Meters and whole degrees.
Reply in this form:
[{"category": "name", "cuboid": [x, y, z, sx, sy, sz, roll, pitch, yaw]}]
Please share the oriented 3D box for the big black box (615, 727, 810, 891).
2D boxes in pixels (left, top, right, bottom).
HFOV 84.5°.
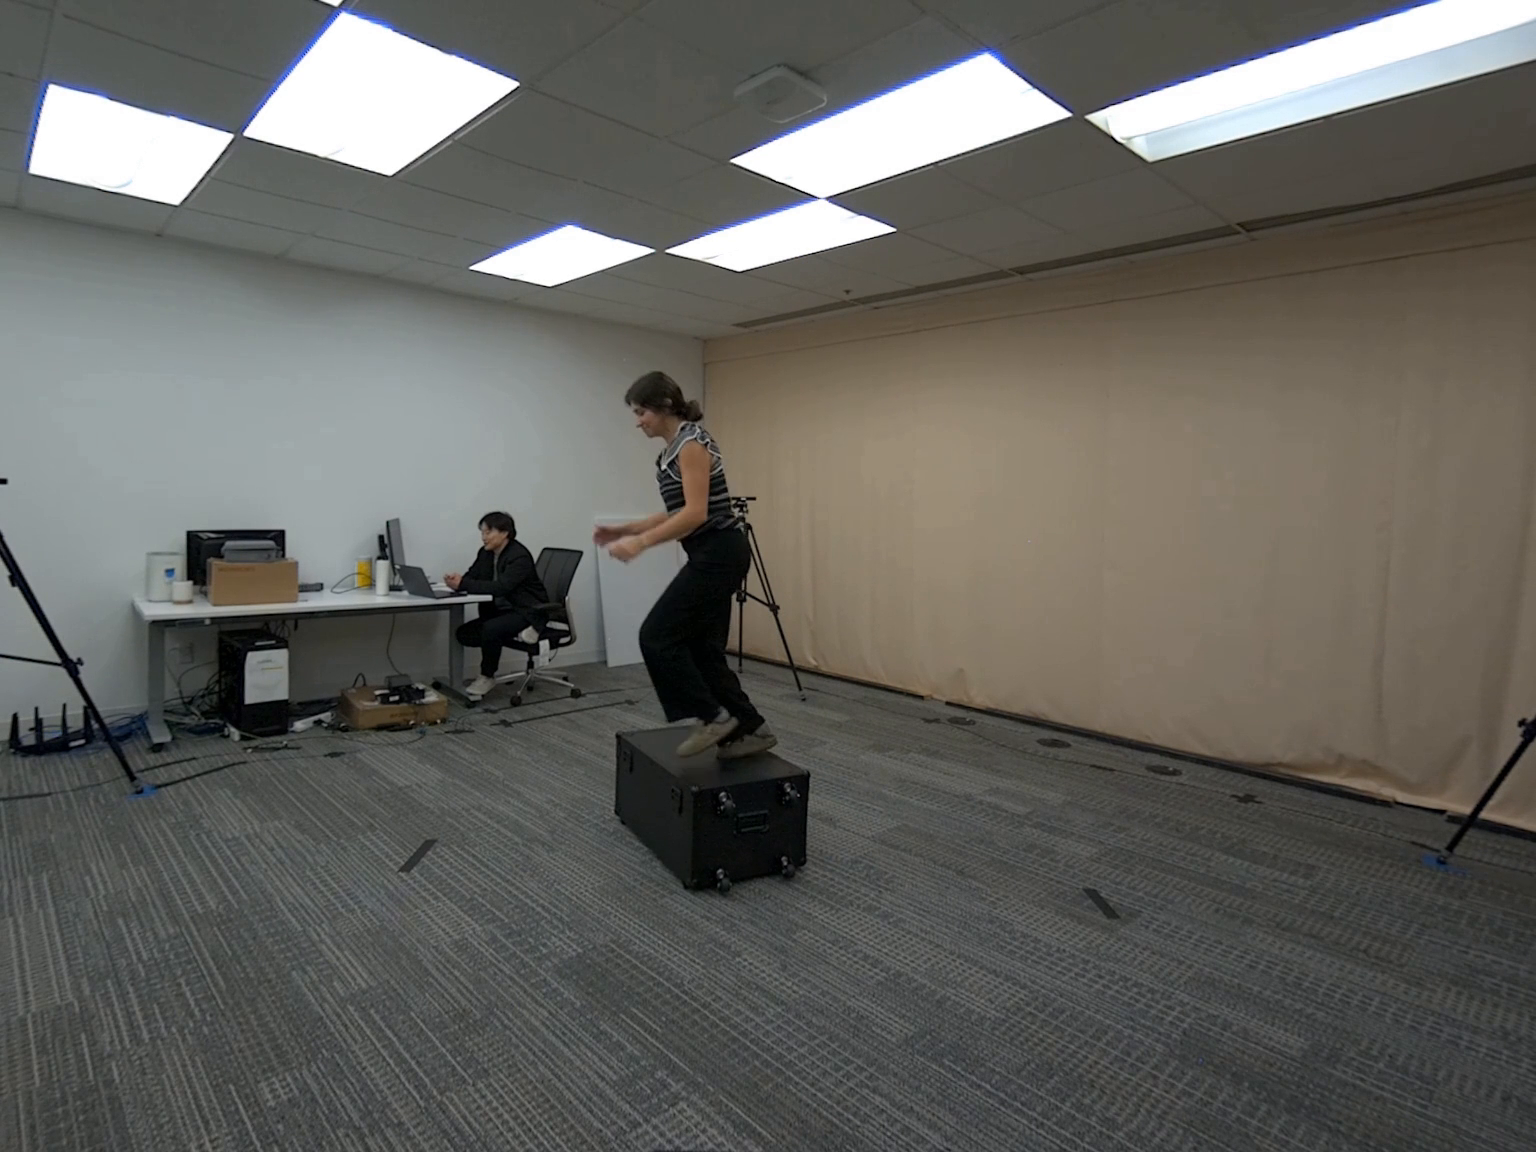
[{"category": "big black box", "cuboid": [-0.245, 0.893, 3.356, 0.511, 0.395, 0.881, -1, 5, -29]}]
